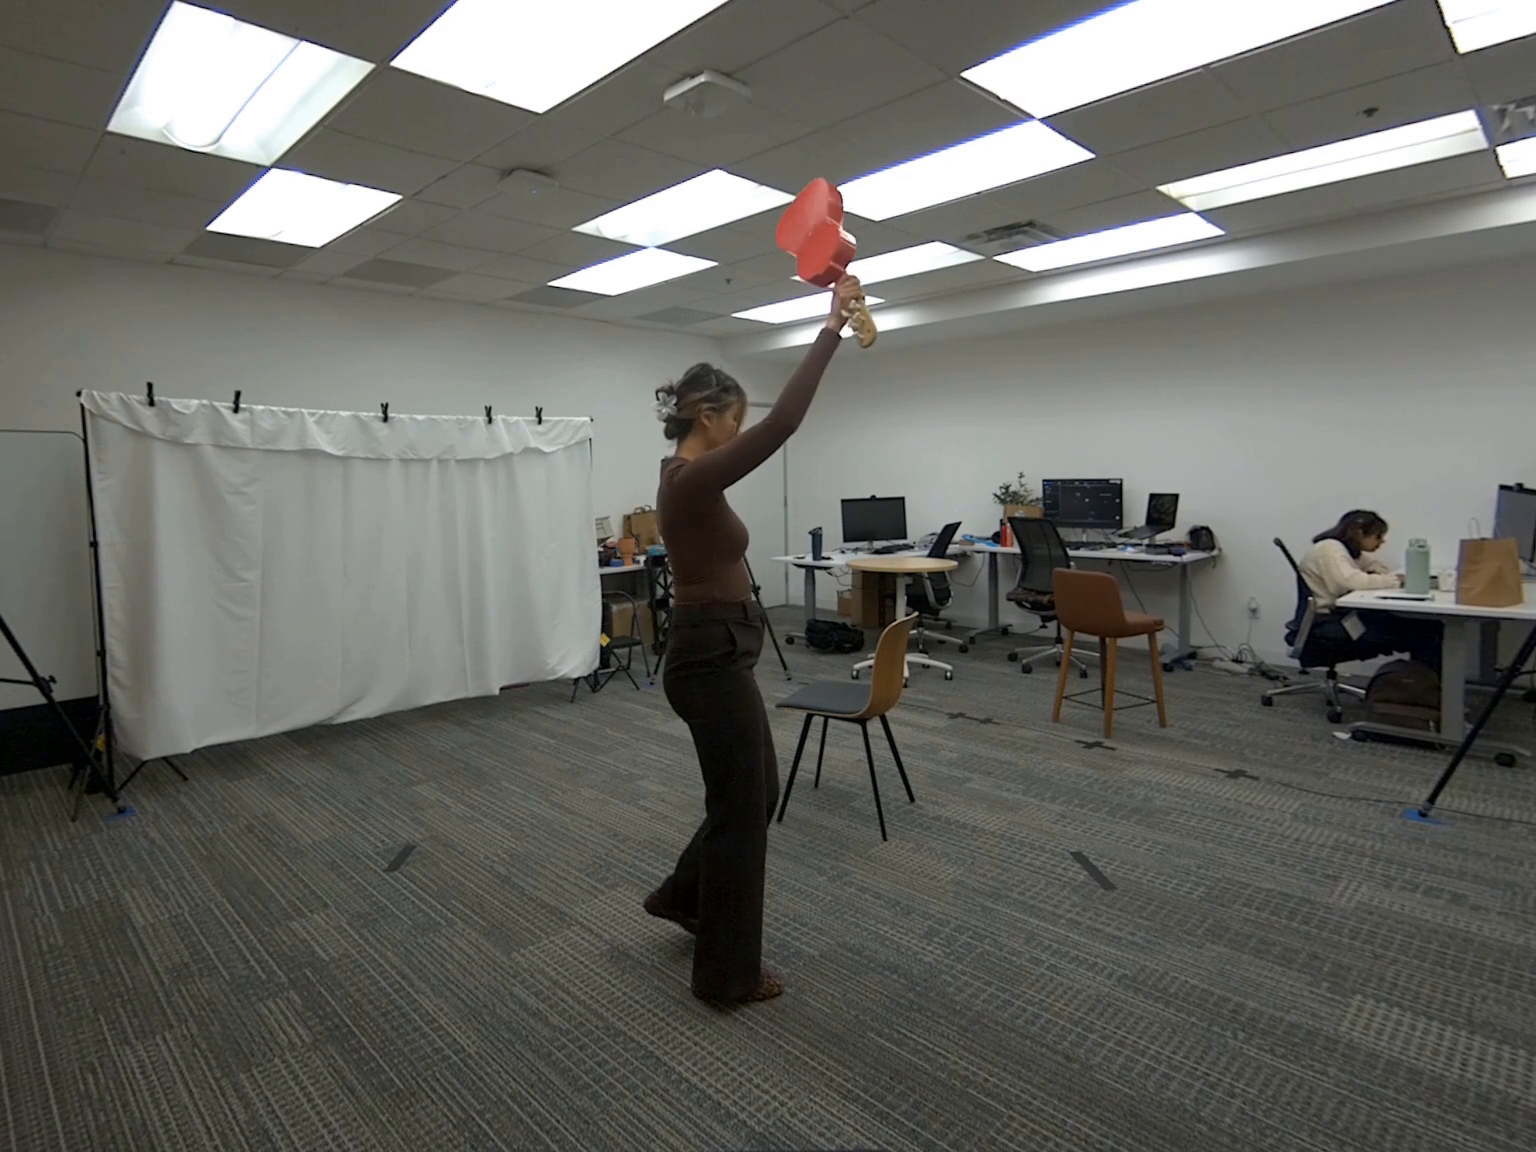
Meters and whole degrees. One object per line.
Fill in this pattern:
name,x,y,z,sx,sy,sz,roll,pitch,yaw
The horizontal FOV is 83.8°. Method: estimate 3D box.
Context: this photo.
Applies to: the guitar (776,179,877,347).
guitar,0.172,-0.759,2.045,0.068,0.515,0.192,12,-49,-39
